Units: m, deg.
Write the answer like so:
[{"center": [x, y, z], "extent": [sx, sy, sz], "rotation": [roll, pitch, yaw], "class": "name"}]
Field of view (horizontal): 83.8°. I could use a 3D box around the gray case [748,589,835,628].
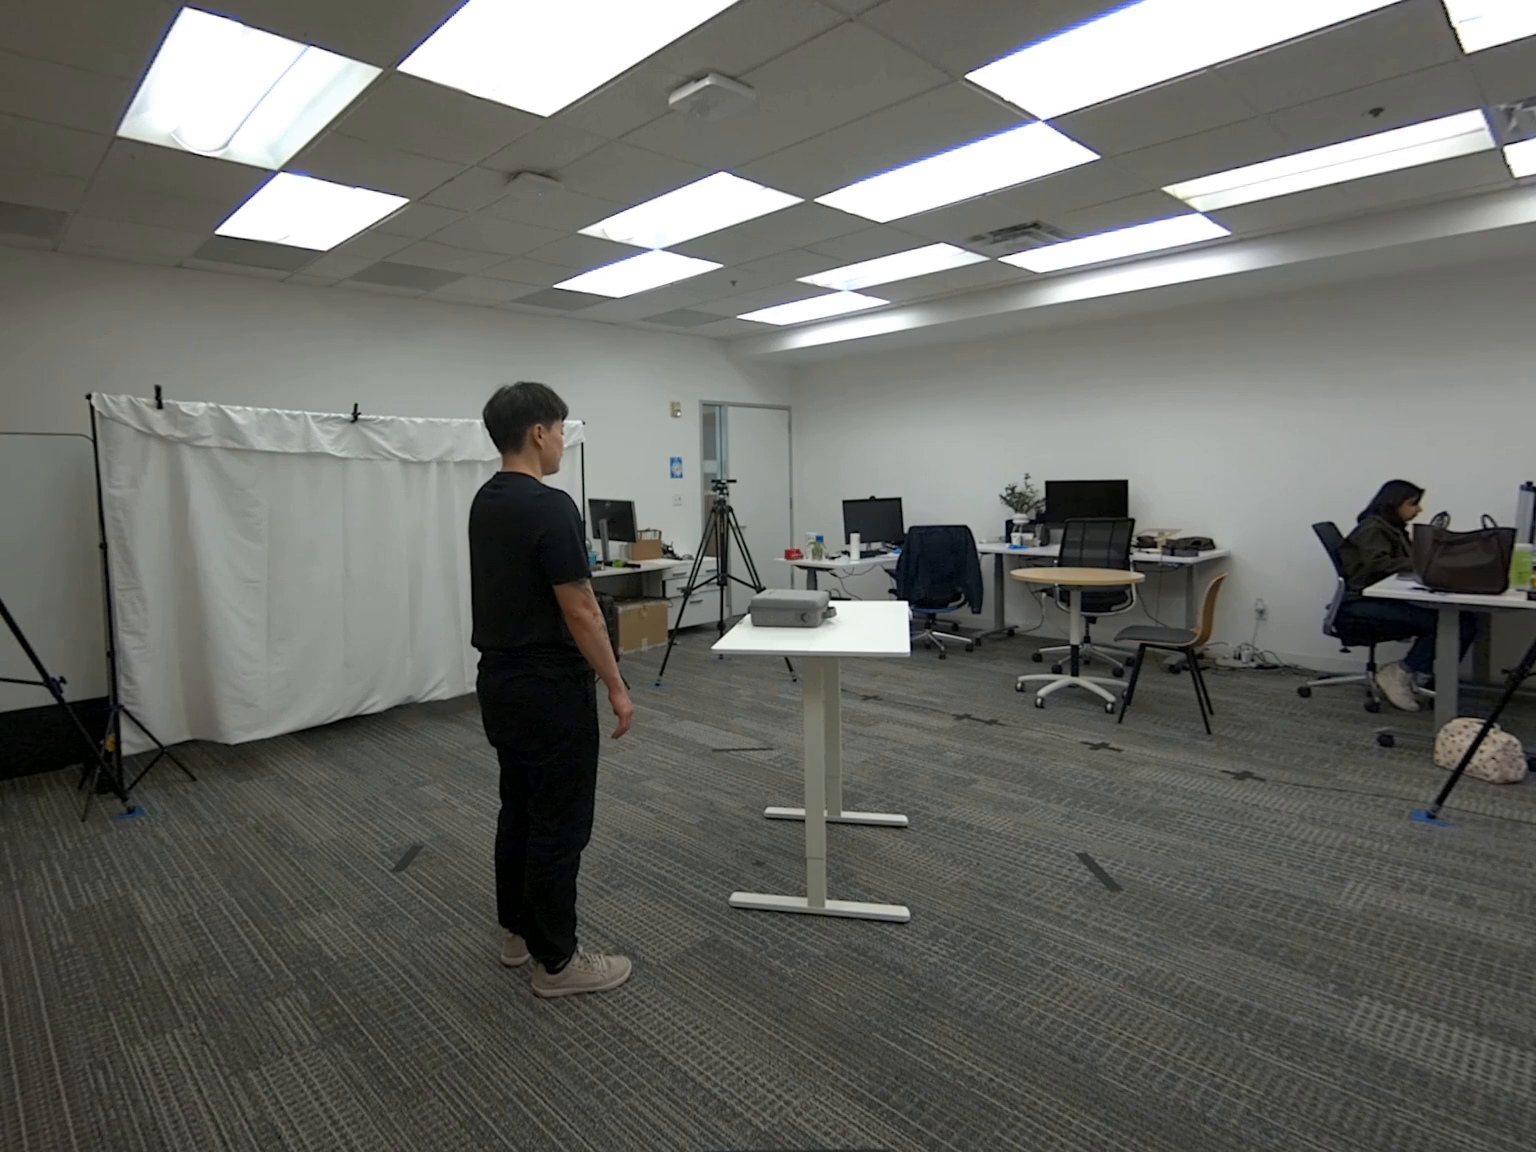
[{"center": [0.092, 0.111, 3.085], "extent": [0.265, 0.104, 0.254], "rotation": [1, 6, 15], "class": "gray case"}]
